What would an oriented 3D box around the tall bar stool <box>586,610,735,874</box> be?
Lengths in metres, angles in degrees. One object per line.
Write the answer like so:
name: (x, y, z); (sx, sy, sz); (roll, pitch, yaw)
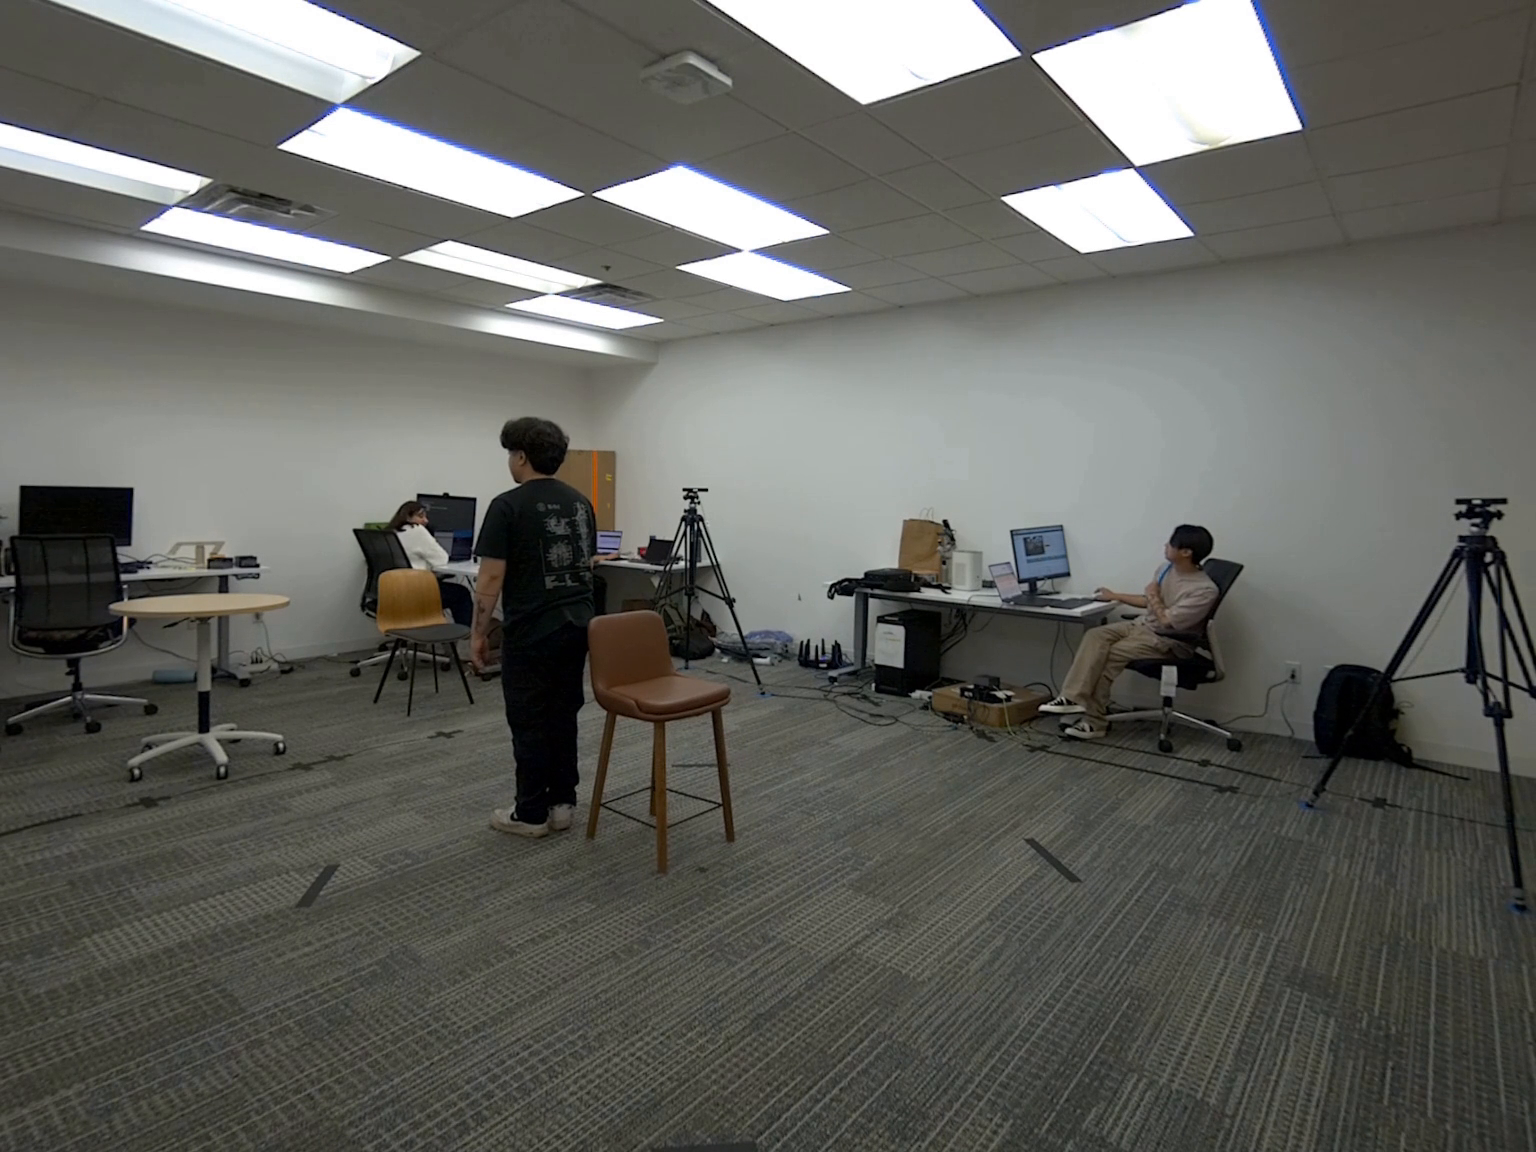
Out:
tall bar stool: (-0.438, 0.604, 3.346); (0.482, 0.889, 0.443); (0, 2, 40)
